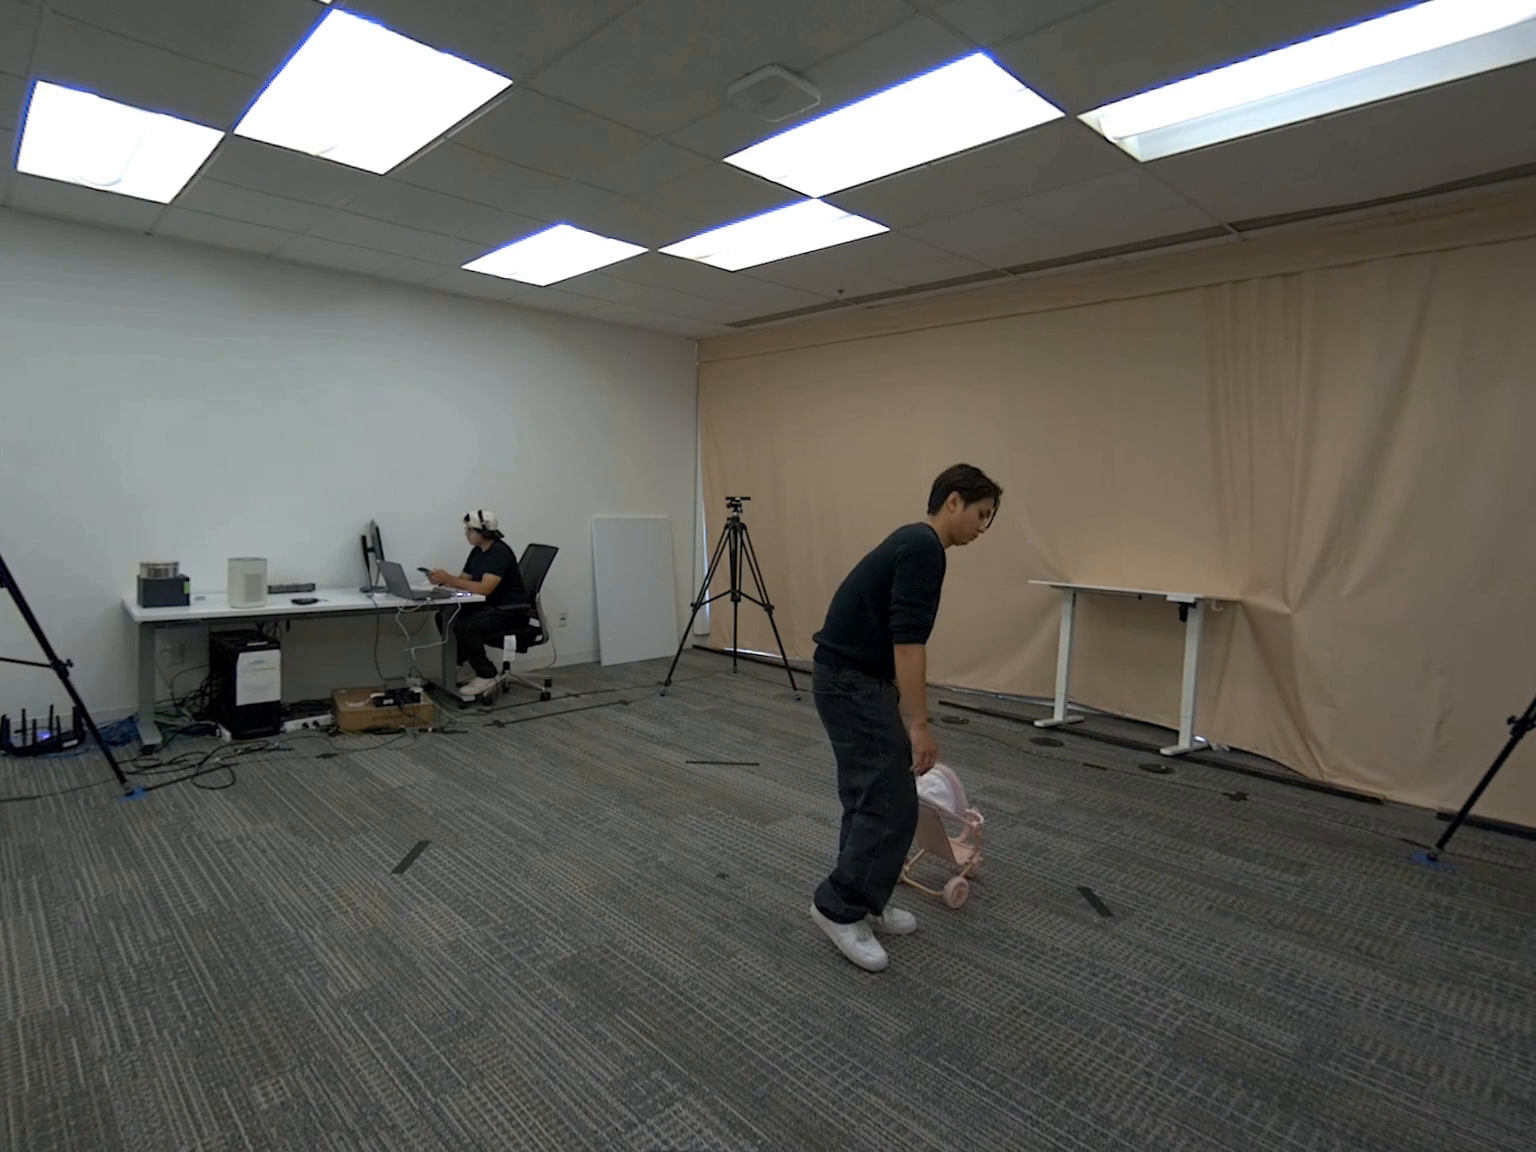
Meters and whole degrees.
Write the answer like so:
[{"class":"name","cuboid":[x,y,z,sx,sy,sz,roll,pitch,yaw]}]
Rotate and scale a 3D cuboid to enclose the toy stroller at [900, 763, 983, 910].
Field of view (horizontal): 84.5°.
[{"class":"toy stroller","cuboid":[0.615,0.906,3.020,0.337,0.529,0.288,-21,16,-33]}]
